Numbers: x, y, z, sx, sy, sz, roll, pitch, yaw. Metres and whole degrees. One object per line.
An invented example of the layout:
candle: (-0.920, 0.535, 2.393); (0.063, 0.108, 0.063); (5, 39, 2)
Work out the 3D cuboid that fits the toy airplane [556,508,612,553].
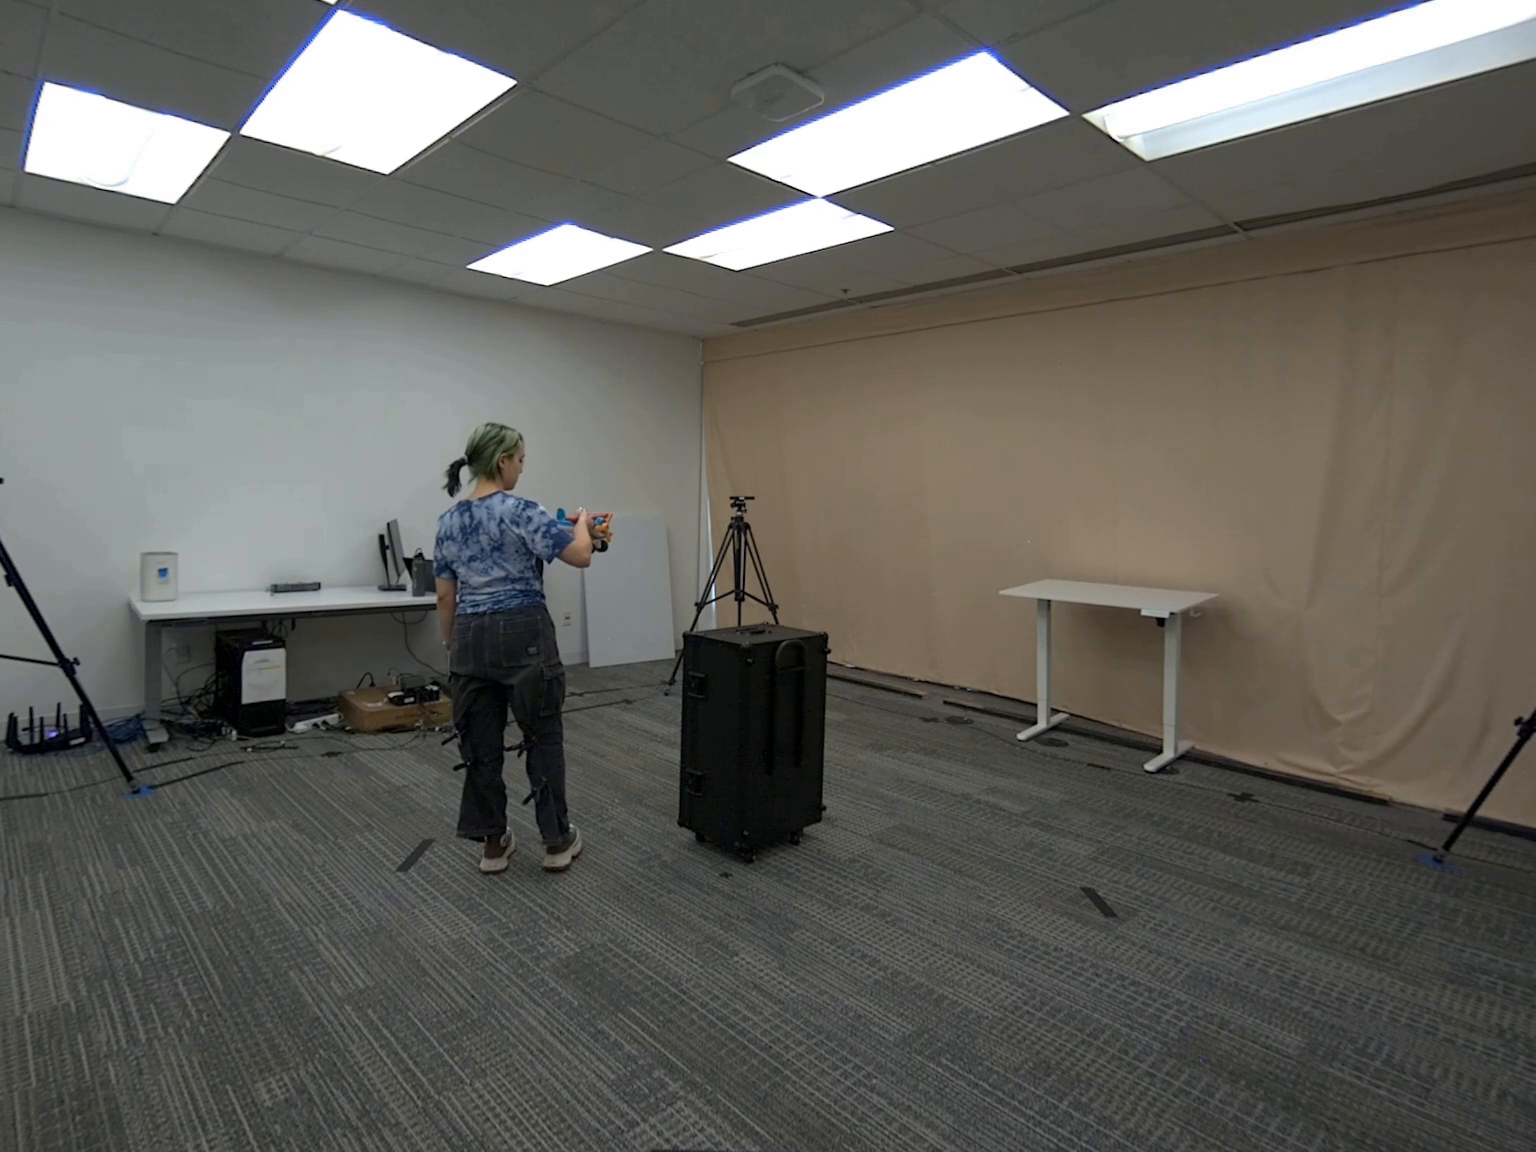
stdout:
toy airplane: (-0.769, -0.189, 3.396); (0.258, 0.155, 0.254); (13, 15, -5)
